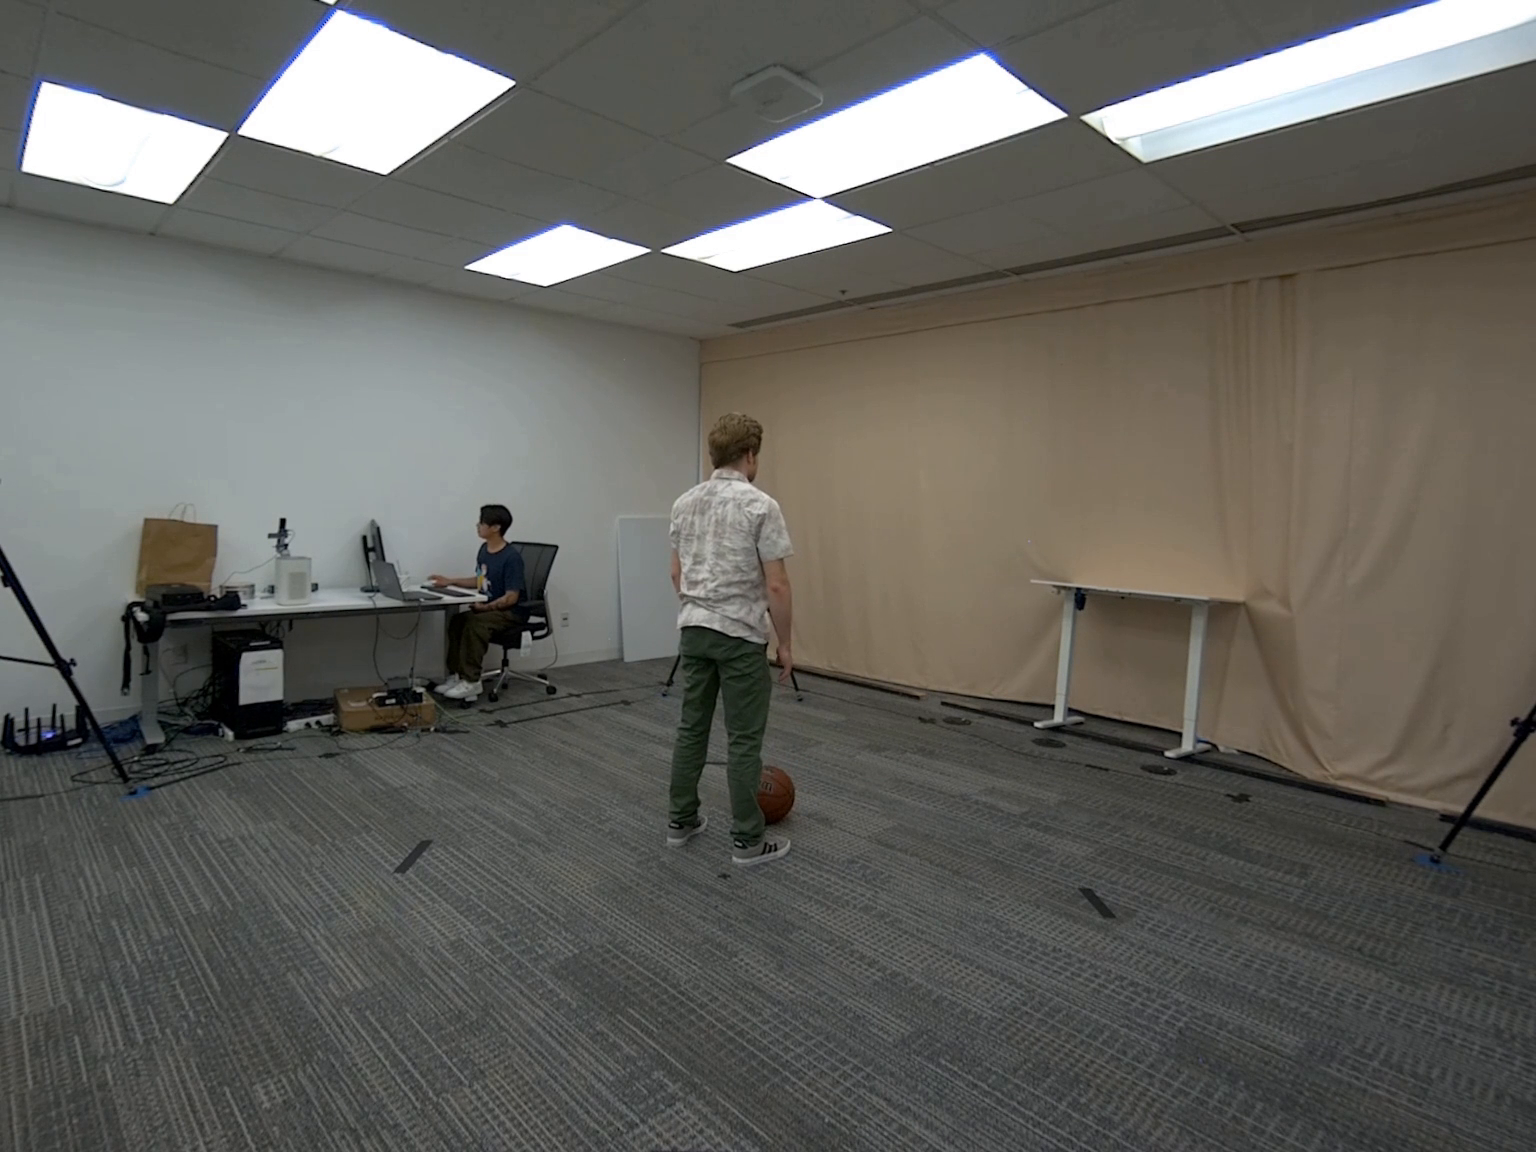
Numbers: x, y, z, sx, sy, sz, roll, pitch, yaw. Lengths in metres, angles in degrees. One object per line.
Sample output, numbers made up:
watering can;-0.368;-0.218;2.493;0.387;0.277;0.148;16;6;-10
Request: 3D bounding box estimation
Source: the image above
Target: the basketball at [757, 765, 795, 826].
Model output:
basketball;-0.015;0.947;3.649;0.236;0.235;0.237;1;4;-1
